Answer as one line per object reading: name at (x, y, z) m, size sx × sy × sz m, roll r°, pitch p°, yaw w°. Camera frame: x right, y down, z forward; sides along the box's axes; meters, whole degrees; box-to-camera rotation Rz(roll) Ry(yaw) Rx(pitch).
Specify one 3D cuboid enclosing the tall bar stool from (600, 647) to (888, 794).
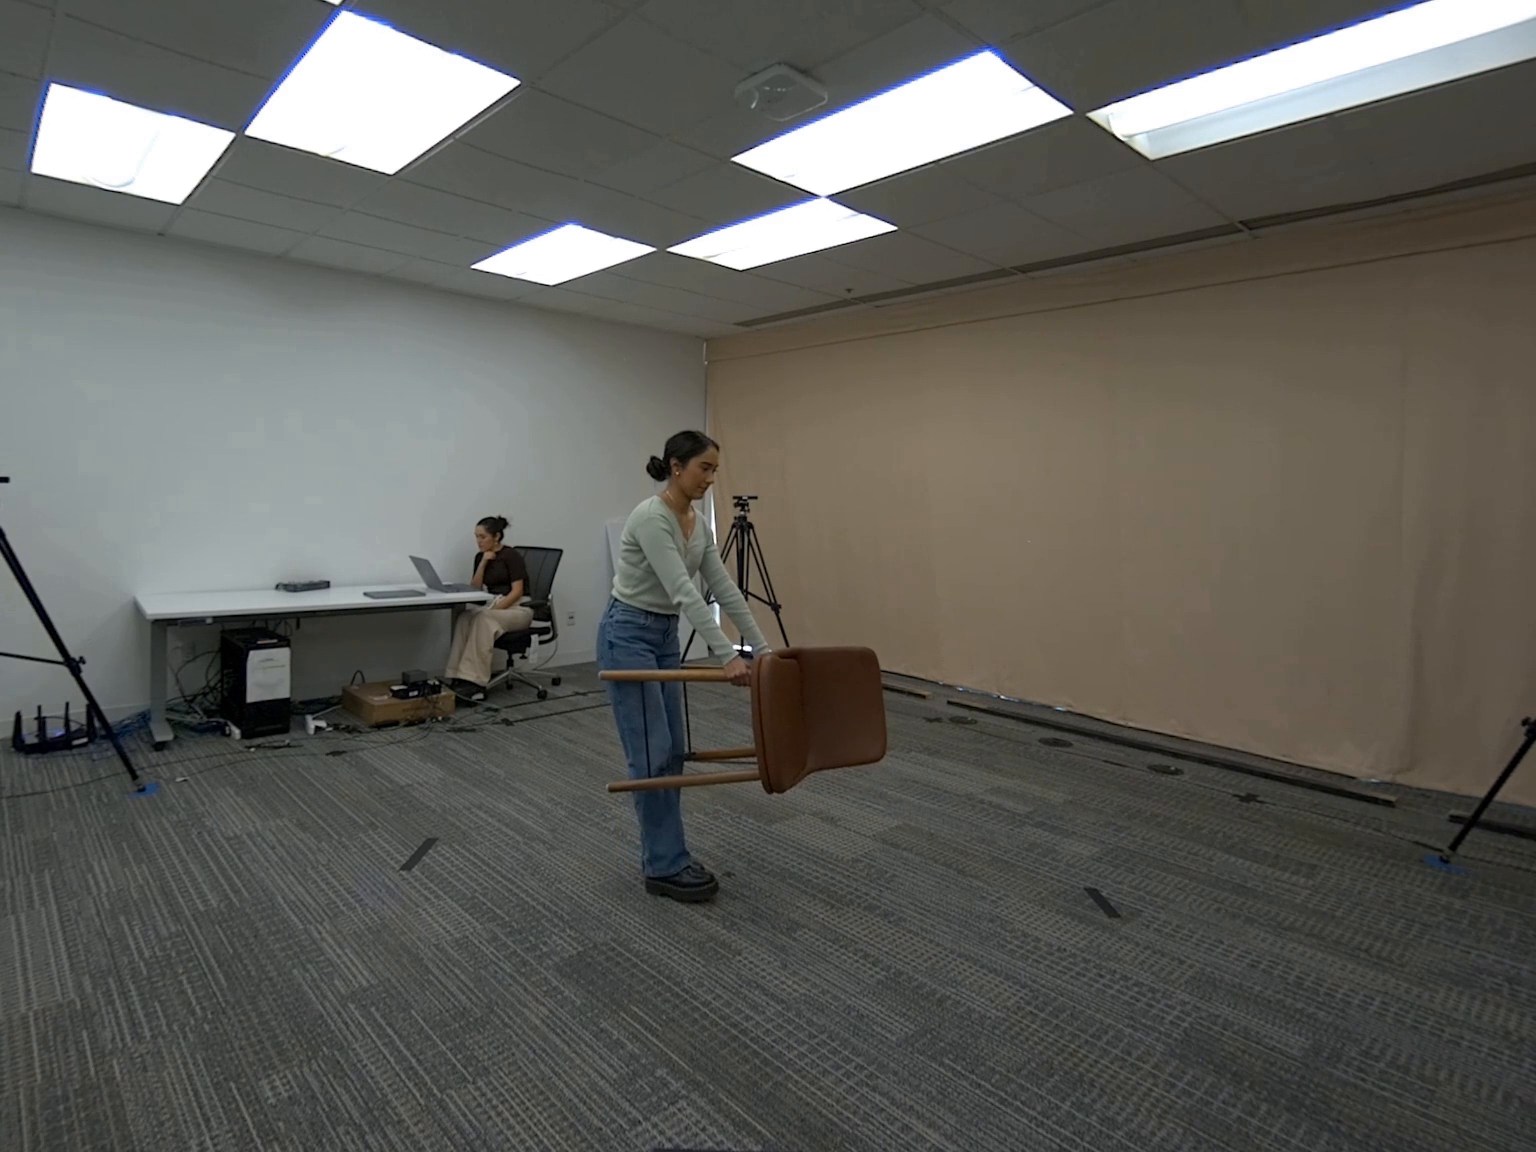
tall bar stool at (-0.070, 0.492, 2.916) m, size 0.901 × 0.458 × 0.460 m, roll -5°, pitch -3°, yaw 19°
